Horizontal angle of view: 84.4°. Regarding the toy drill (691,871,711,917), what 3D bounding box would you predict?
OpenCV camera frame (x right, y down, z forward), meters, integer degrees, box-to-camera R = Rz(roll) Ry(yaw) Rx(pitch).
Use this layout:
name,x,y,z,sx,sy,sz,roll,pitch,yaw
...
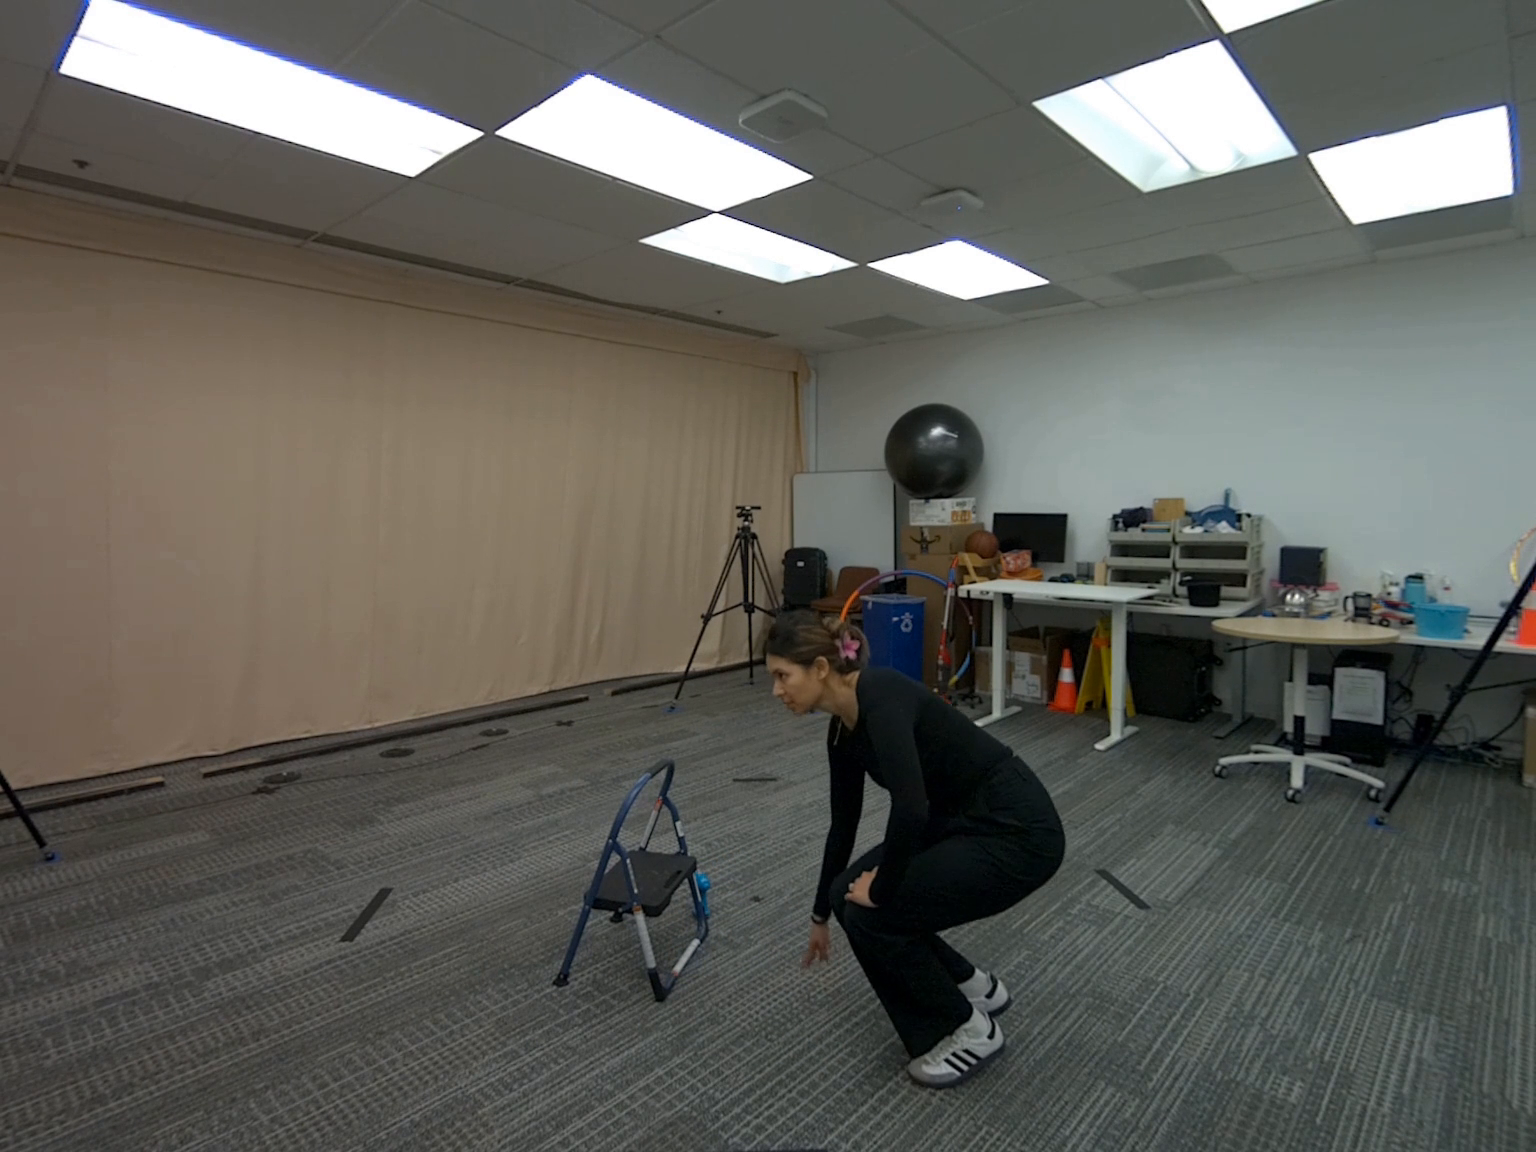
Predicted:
name,x,y,z,sx,sy,sz,roll,pitch,yaw
toy drill,-0.241,1.084,2.890,0.059,0.146,0.174,-2,3,-28
